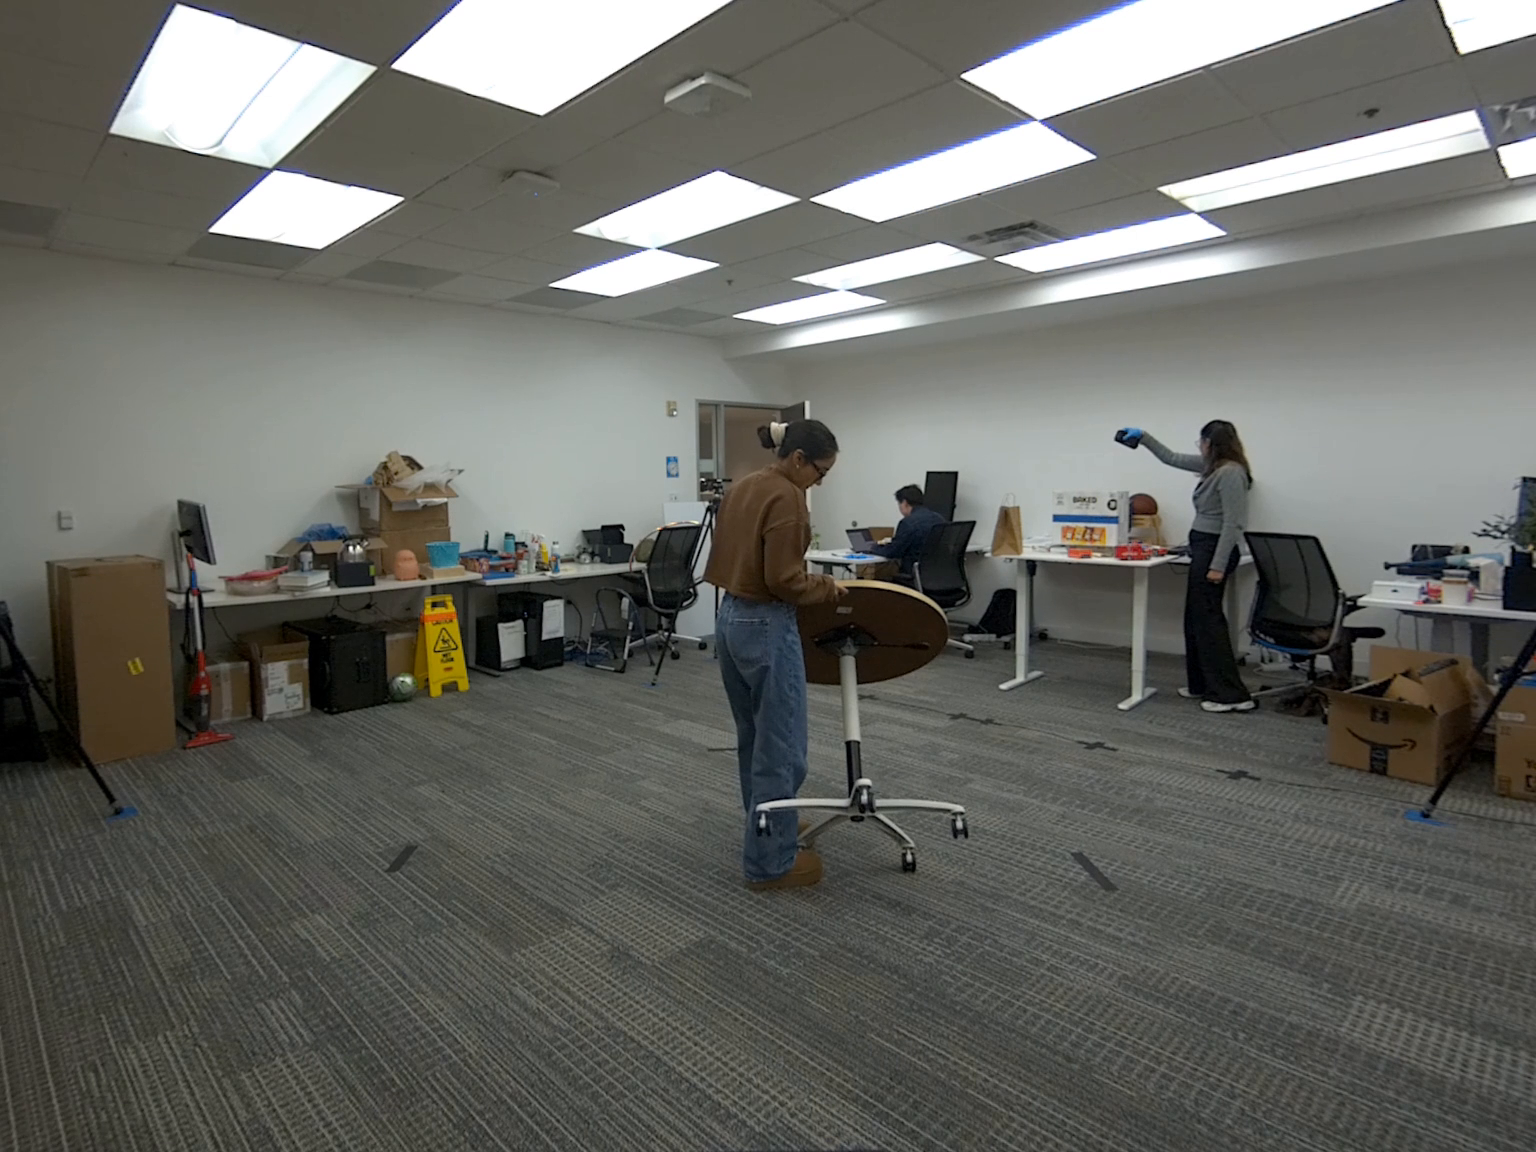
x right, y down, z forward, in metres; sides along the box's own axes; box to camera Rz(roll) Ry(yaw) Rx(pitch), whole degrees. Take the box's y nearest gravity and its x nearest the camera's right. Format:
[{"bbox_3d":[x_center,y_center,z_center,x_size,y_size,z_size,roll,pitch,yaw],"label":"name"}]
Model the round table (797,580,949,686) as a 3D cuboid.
[{"bbox_3d":[0.317,0.557,3.035,0.764,0.814,0.745,1,-35,-1],"label":"round table"}]
